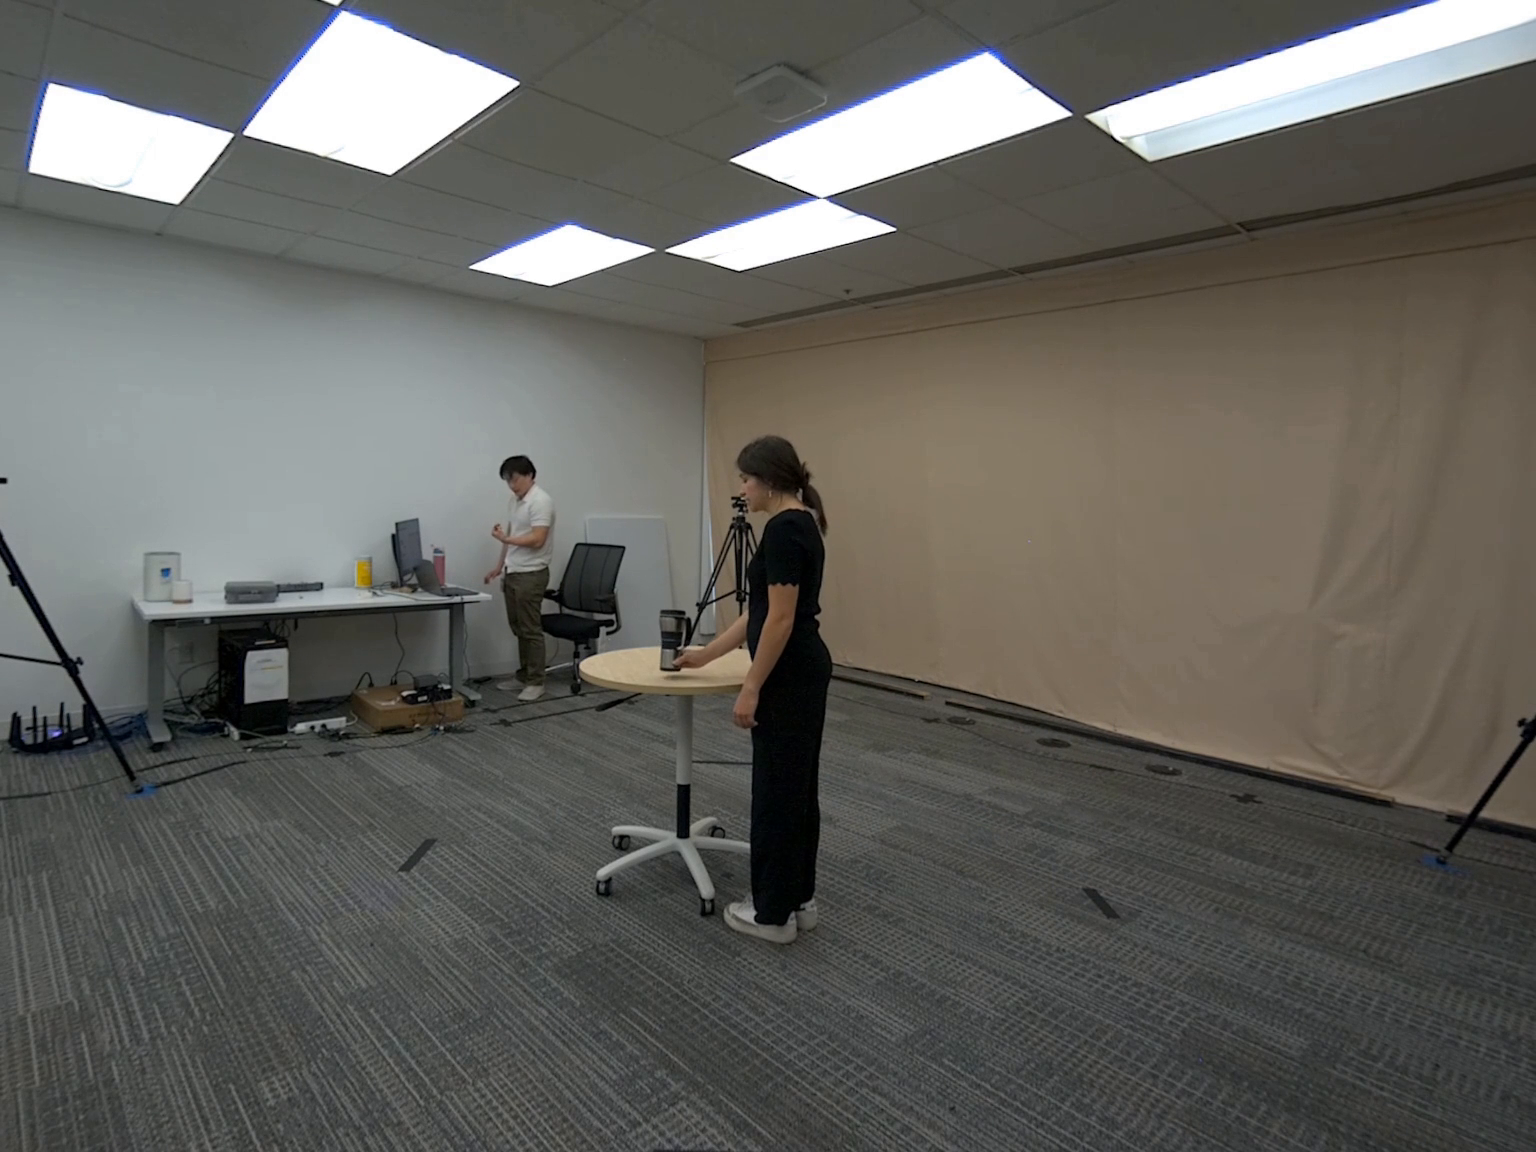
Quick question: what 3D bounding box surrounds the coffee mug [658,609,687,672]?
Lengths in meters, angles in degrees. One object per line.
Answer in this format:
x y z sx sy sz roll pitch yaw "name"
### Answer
-0.314 0.218 2.801 0.086 0.204 0.123 7 -6 -21 "coffee mug"
